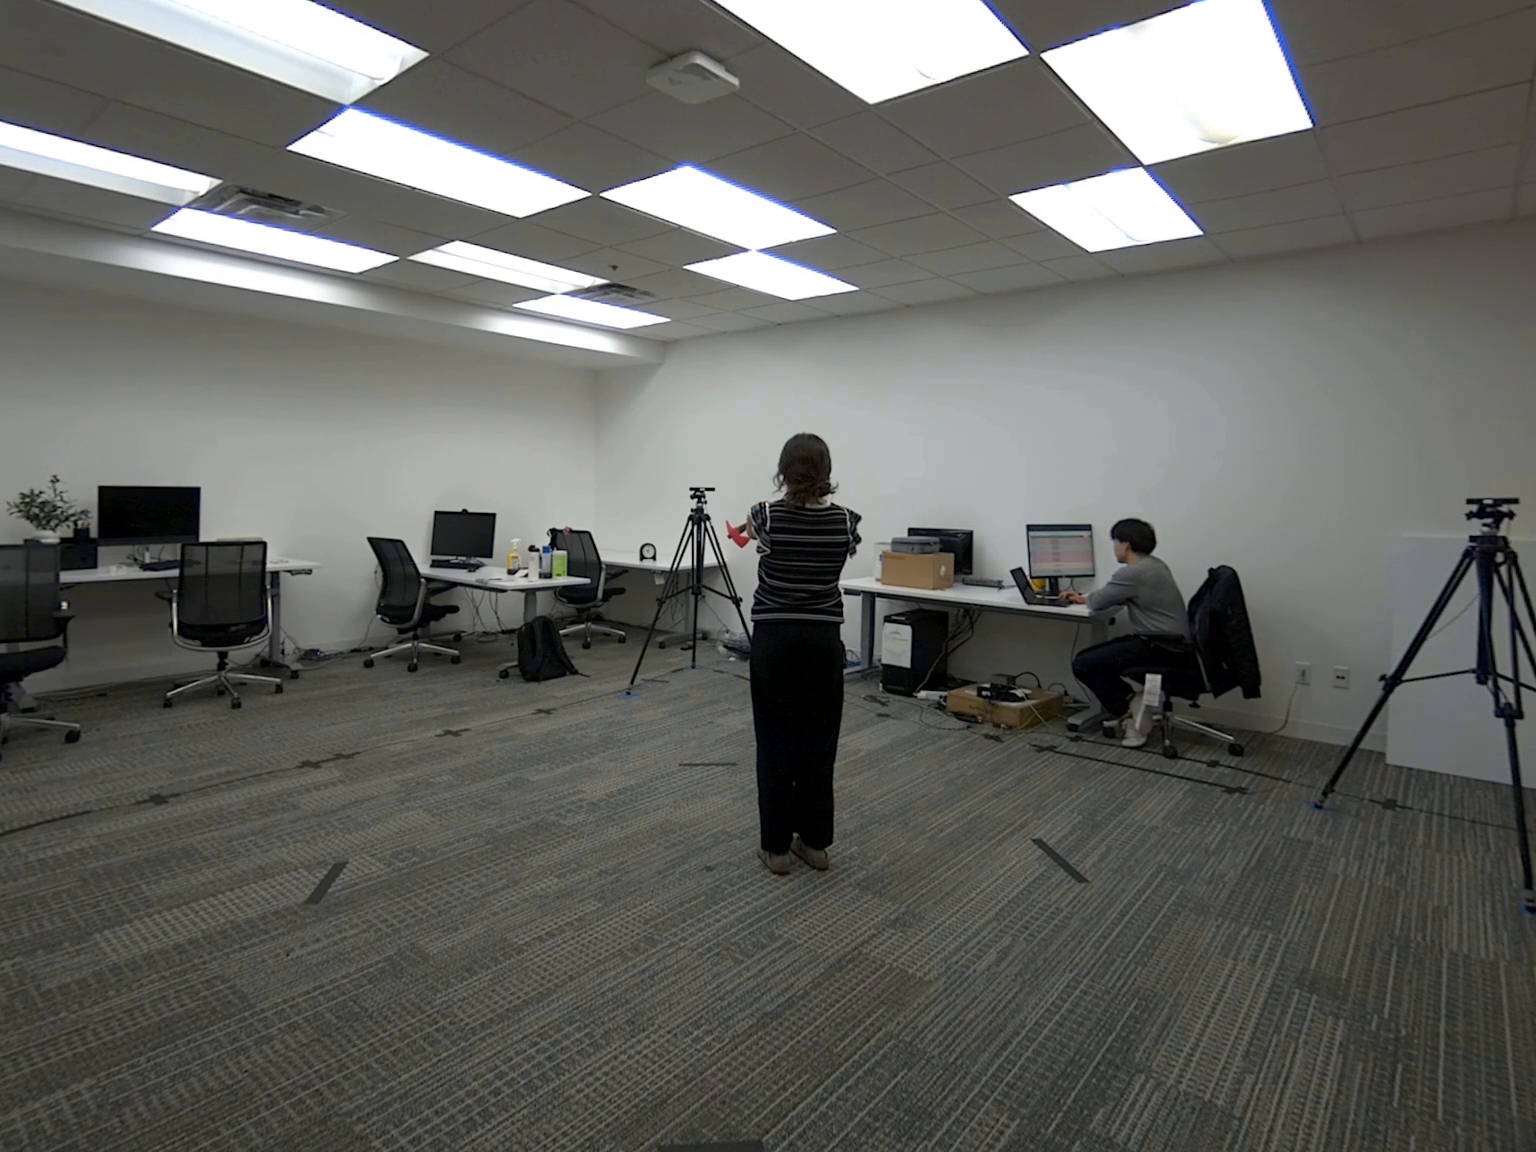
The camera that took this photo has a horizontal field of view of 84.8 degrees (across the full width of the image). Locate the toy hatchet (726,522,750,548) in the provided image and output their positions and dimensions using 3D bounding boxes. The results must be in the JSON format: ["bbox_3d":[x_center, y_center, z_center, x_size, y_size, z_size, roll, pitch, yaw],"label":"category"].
[{"bbox_3d":[-0.065,-0.198,3.652,0.270,0.132,0.029,-9,-9,-2],"label":"toy hatchet"}]
